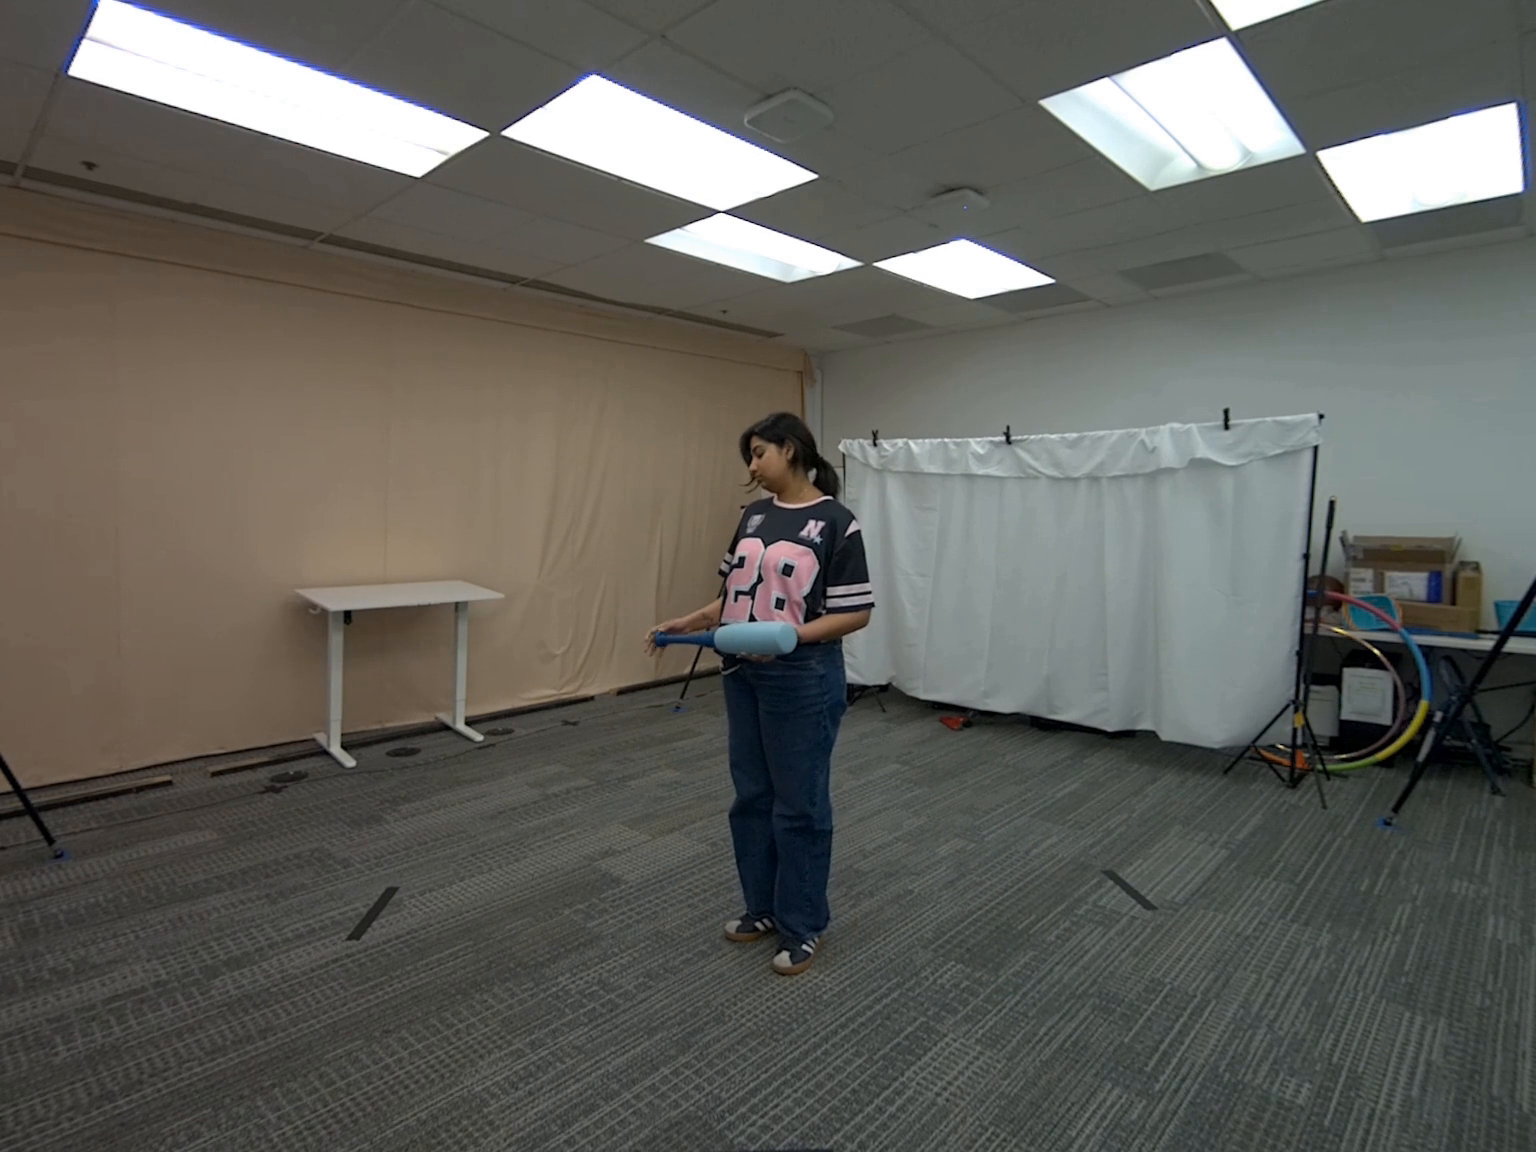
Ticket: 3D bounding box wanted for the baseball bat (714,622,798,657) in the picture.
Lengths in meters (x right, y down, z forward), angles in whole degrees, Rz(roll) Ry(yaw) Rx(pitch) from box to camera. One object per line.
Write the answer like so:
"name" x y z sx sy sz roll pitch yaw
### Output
"baseball bat" -0.140 0.184 2.409 0.086 0.089 0.559 -4 -1 -44
